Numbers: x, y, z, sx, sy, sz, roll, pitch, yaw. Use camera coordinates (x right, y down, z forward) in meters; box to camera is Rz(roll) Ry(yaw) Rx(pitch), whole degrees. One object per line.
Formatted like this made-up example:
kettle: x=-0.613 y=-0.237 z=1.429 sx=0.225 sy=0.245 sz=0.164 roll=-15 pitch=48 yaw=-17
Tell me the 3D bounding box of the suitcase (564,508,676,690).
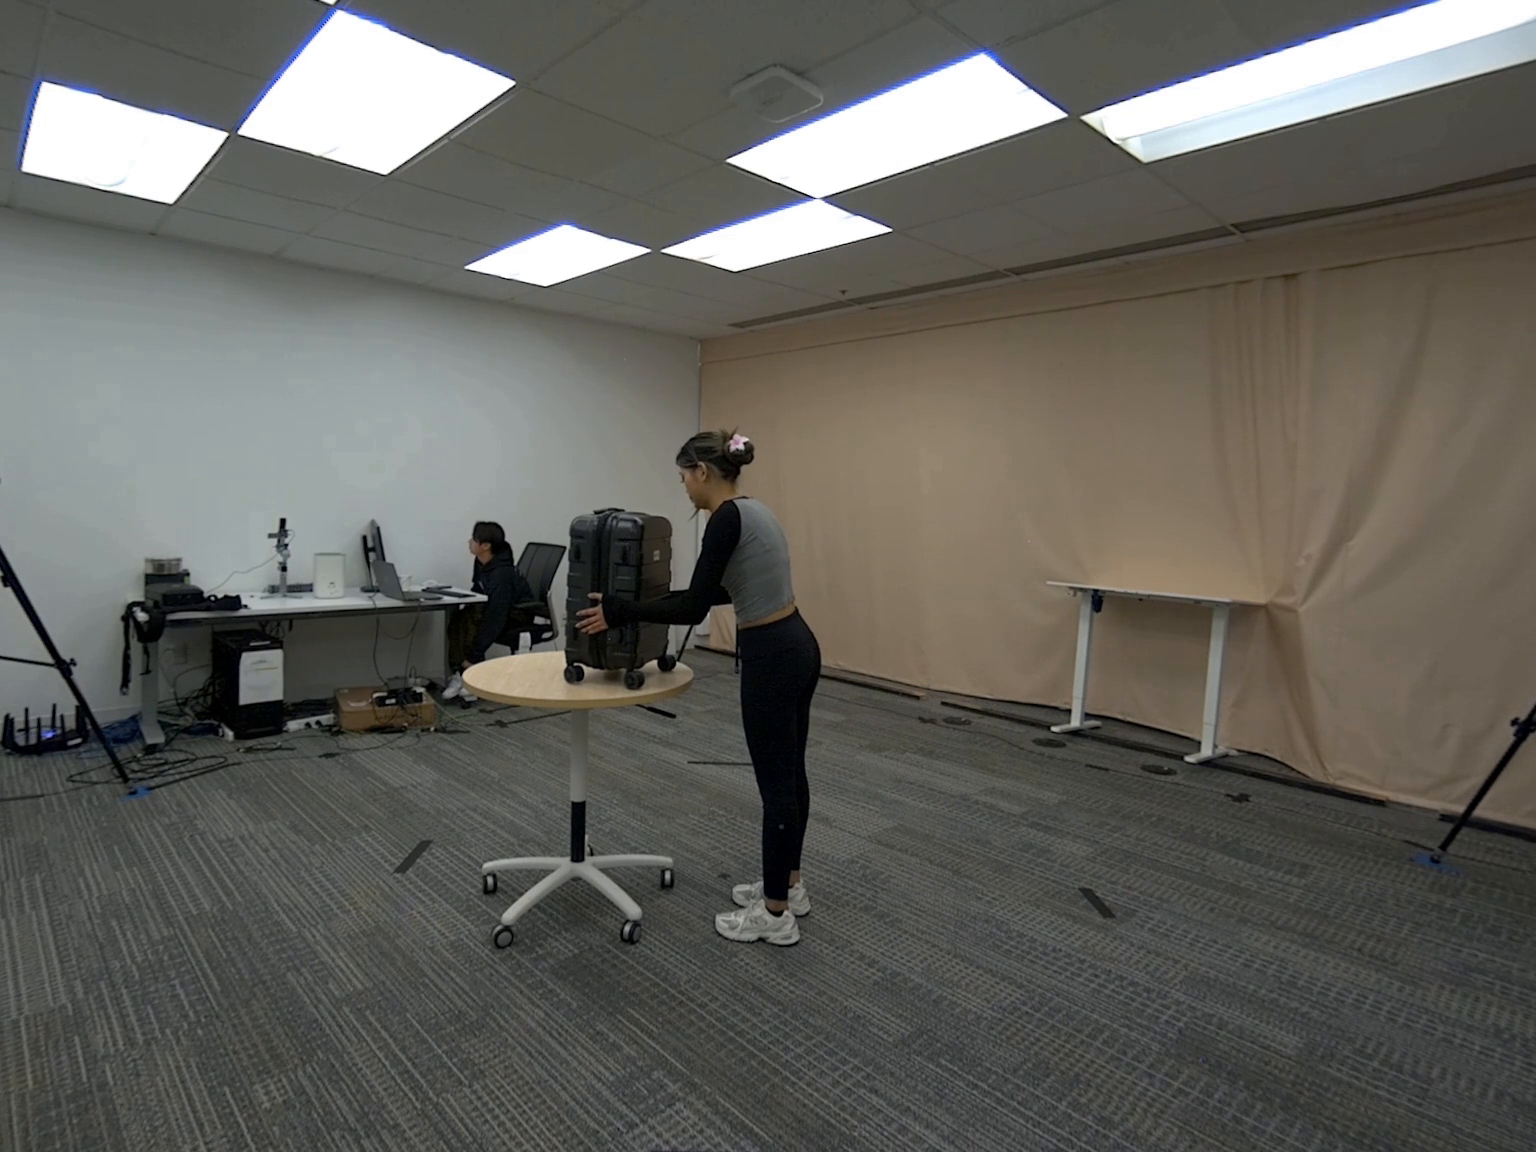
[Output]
suitcase: x=-0.484 y=0.056 z=2.793 sx=0.251 sy=0.548 sz=0.372 roll=3 pitch=4 yaw=13
